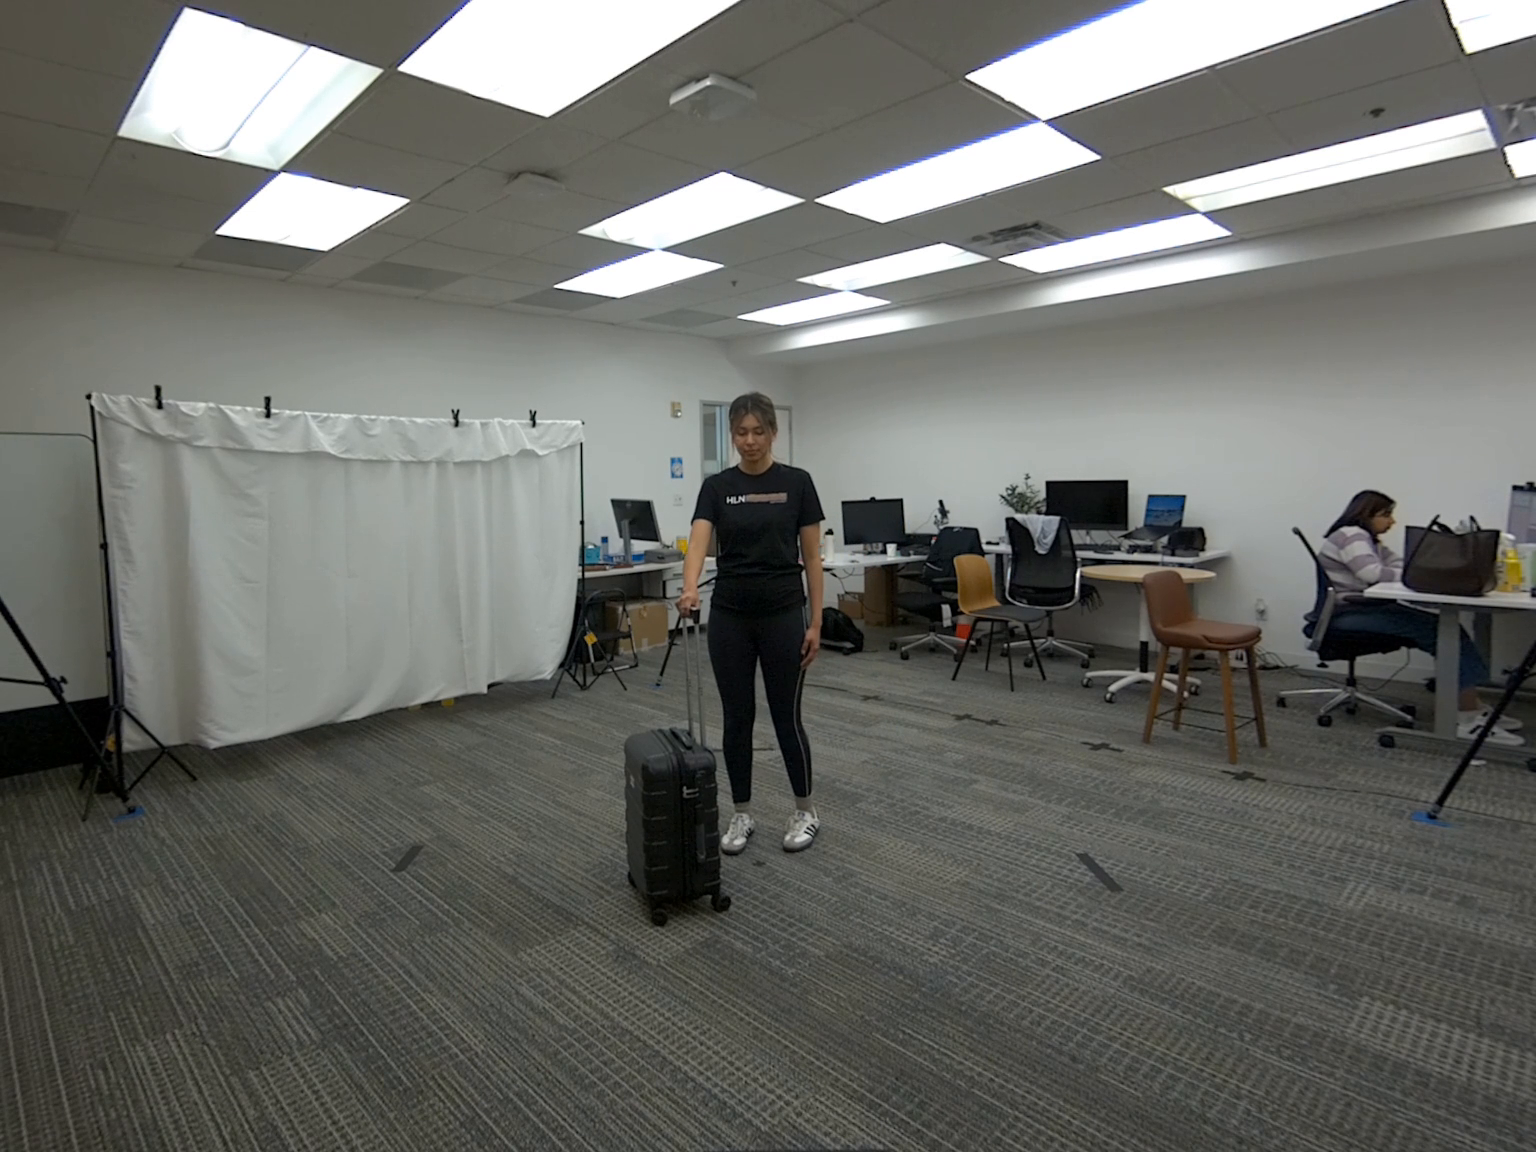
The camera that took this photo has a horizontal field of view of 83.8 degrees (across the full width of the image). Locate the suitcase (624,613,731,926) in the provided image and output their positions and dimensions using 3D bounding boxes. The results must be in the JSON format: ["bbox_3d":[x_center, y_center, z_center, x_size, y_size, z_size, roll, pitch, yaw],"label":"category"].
[{"bbox_3d":[-0.337,0.604,2.840,0.253,0.974,0.391,-5,5,-17],"label":"suitcase"}]
